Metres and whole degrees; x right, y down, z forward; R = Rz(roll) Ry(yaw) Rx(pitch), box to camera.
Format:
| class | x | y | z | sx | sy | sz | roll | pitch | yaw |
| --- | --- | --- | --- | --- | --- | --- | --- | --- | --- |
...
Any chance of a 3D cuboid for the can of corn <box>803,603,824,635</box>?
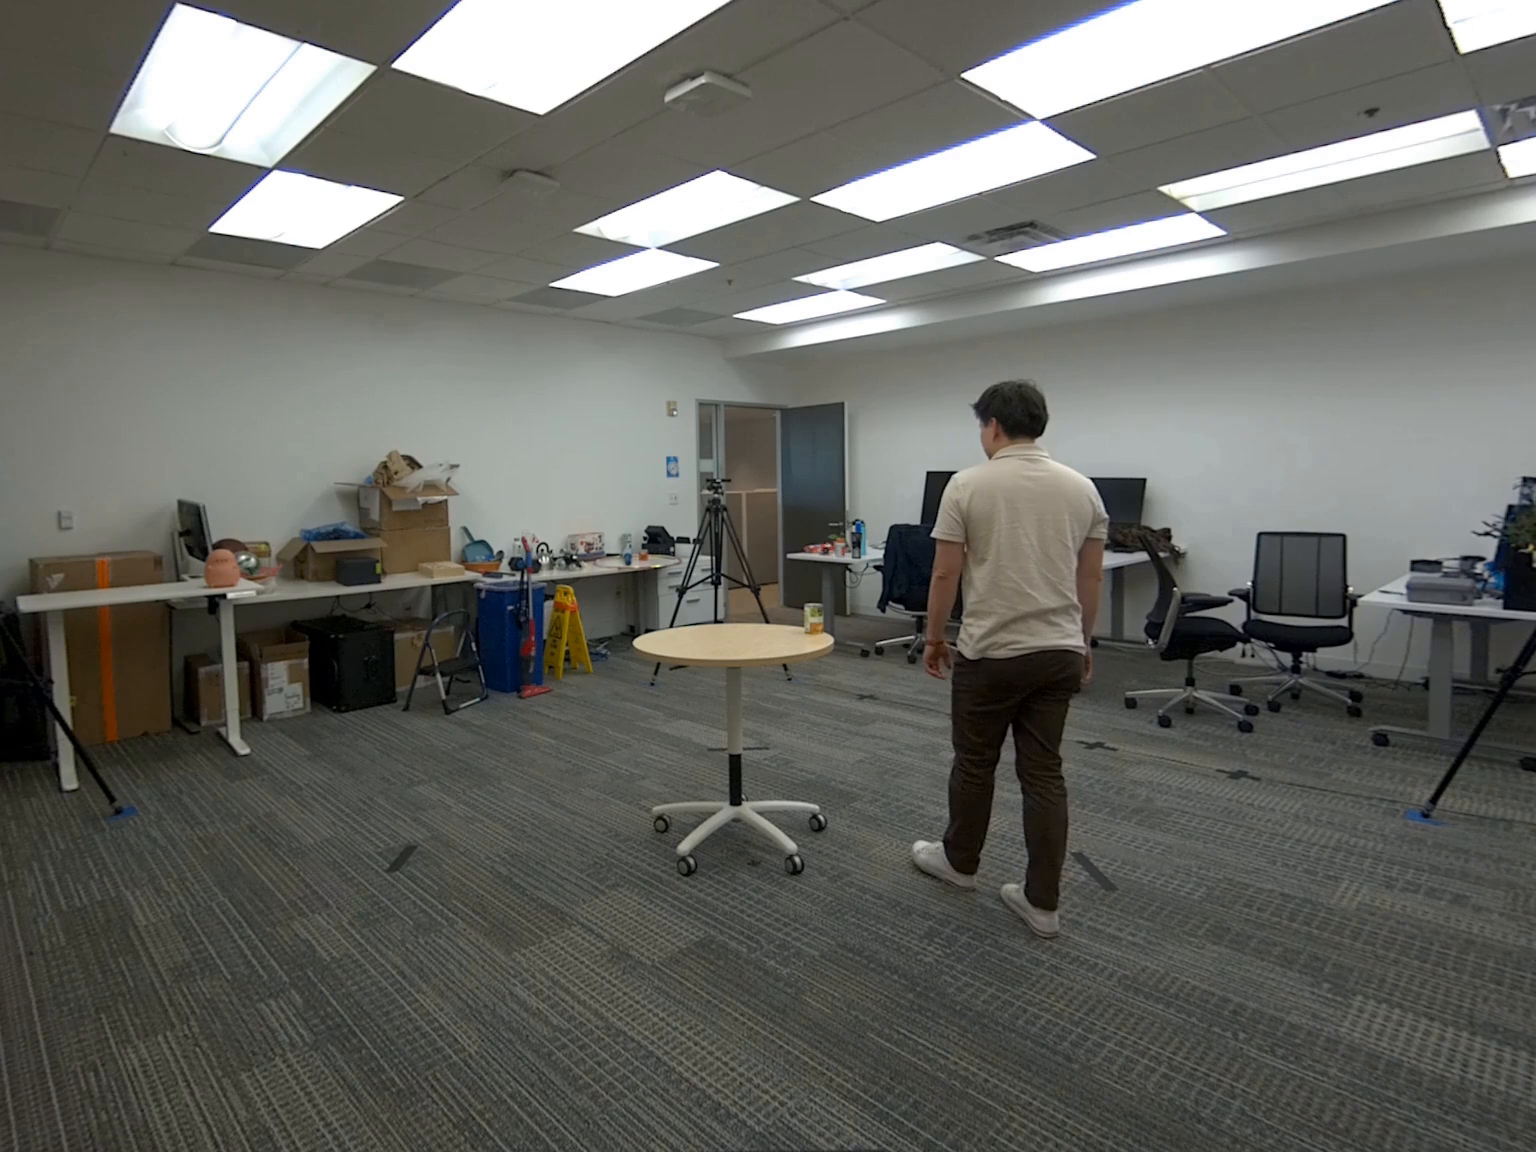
| class | x | y | z | sx | sy | sz | roll | pitch | yaw |
| --- | --- | --- | --- | --- | --- | --- | --- | --- | --- |
| can of corn | 0.184 | 0.170 | 3.386 | 0.074 | 0.111 | 0.074 | 1 | 2 | -2 |
